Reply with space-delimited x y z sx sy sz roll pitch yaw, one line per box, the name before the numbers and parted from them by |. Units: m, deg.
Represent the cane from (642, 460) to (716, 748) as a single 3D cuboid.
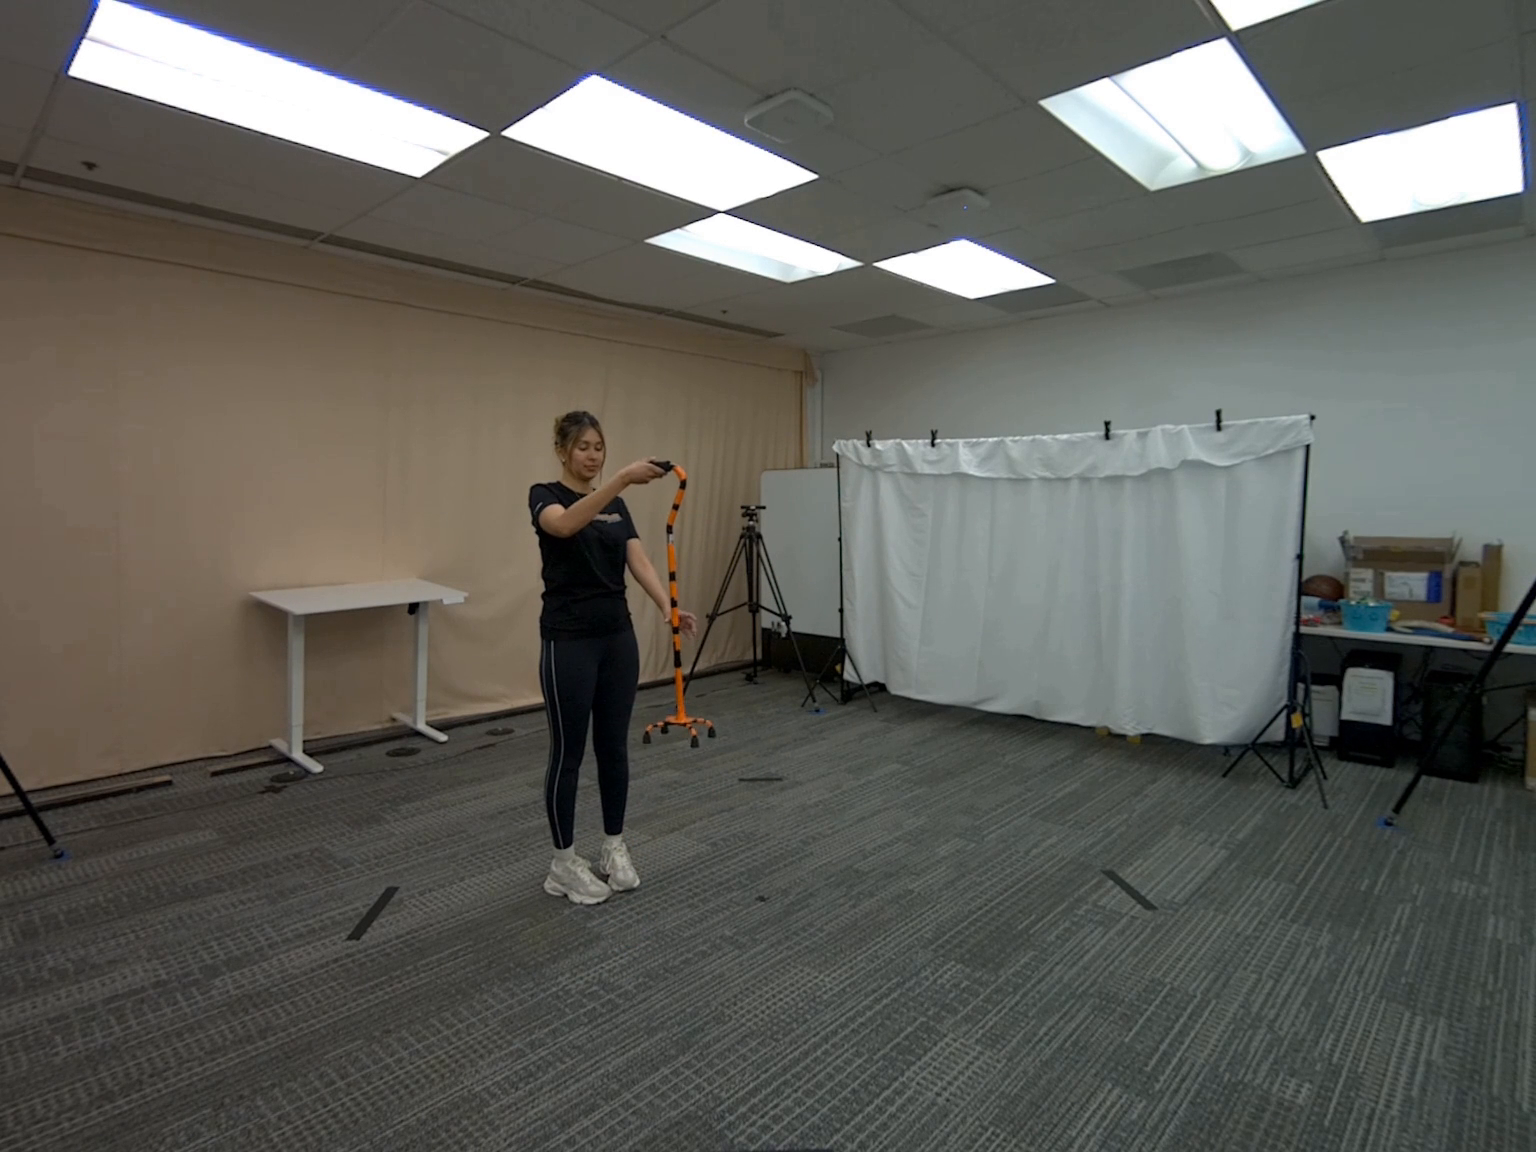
cane | -0.318 0.093 2.734 0.211 0.906 0.149 -1 3 19
